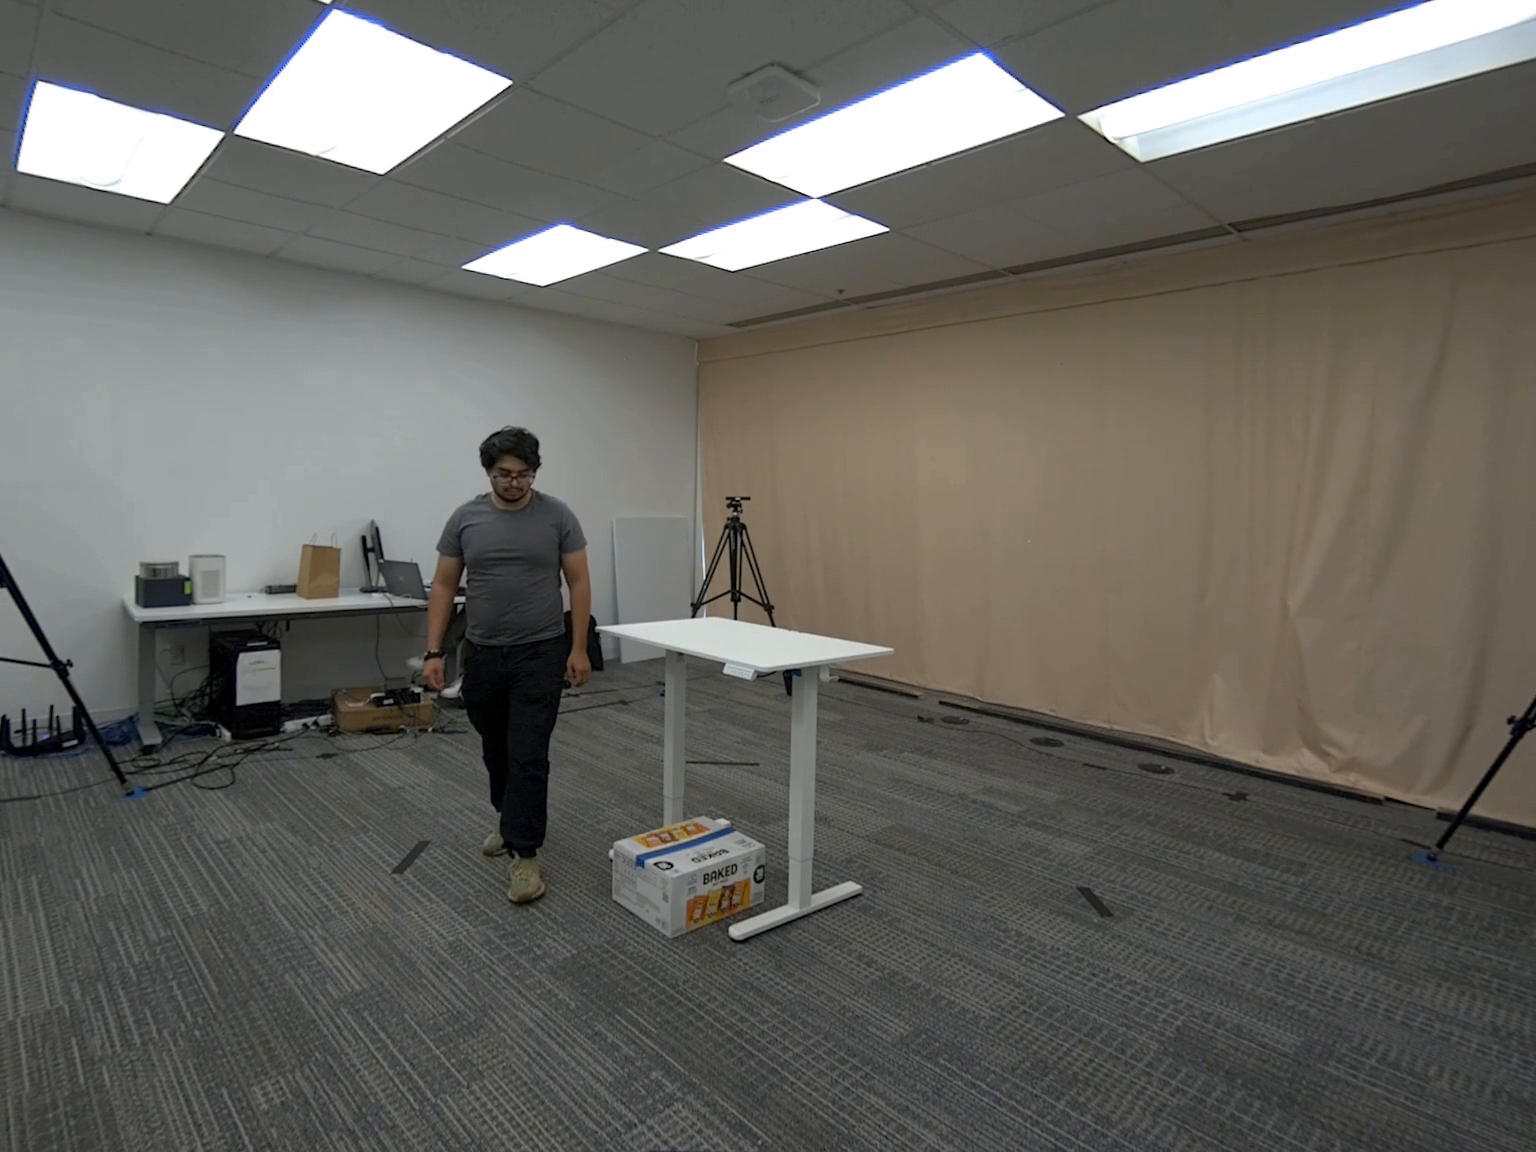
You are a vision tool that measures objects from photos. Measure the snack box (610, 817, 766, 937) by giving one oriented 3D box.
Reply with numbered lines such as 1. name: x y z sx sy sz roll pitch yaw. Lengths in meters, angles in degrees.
1. snack box: -0.278 1.024 2.889 0.396 0.205 0.349 -3 6 -42
